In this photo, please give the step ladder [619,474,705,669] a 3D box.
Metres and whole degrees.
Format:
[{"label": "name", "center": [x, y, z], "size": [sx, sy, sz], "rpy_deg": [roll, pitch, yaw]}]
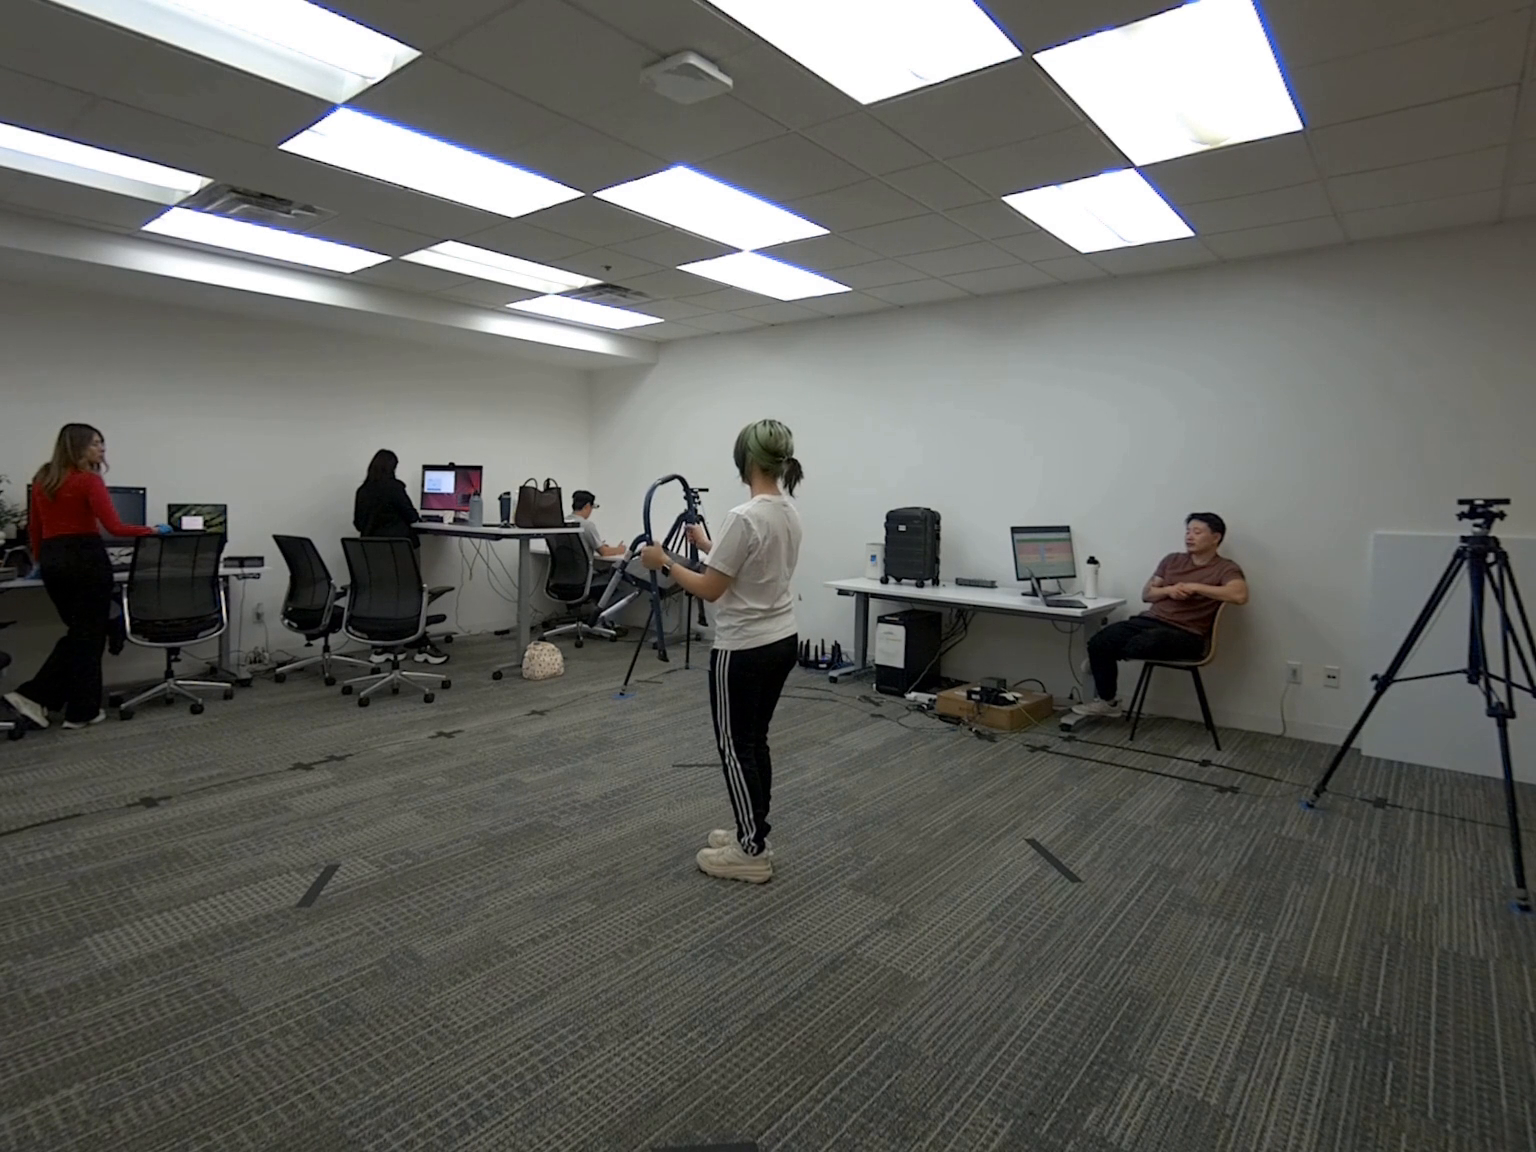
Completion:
[{"label": "step ladder", "center": [-0.404, -0.077, 3.271], "size": [0.356, 0.599, 0.428], "rpy_deg": [20, 20, 13]}]
